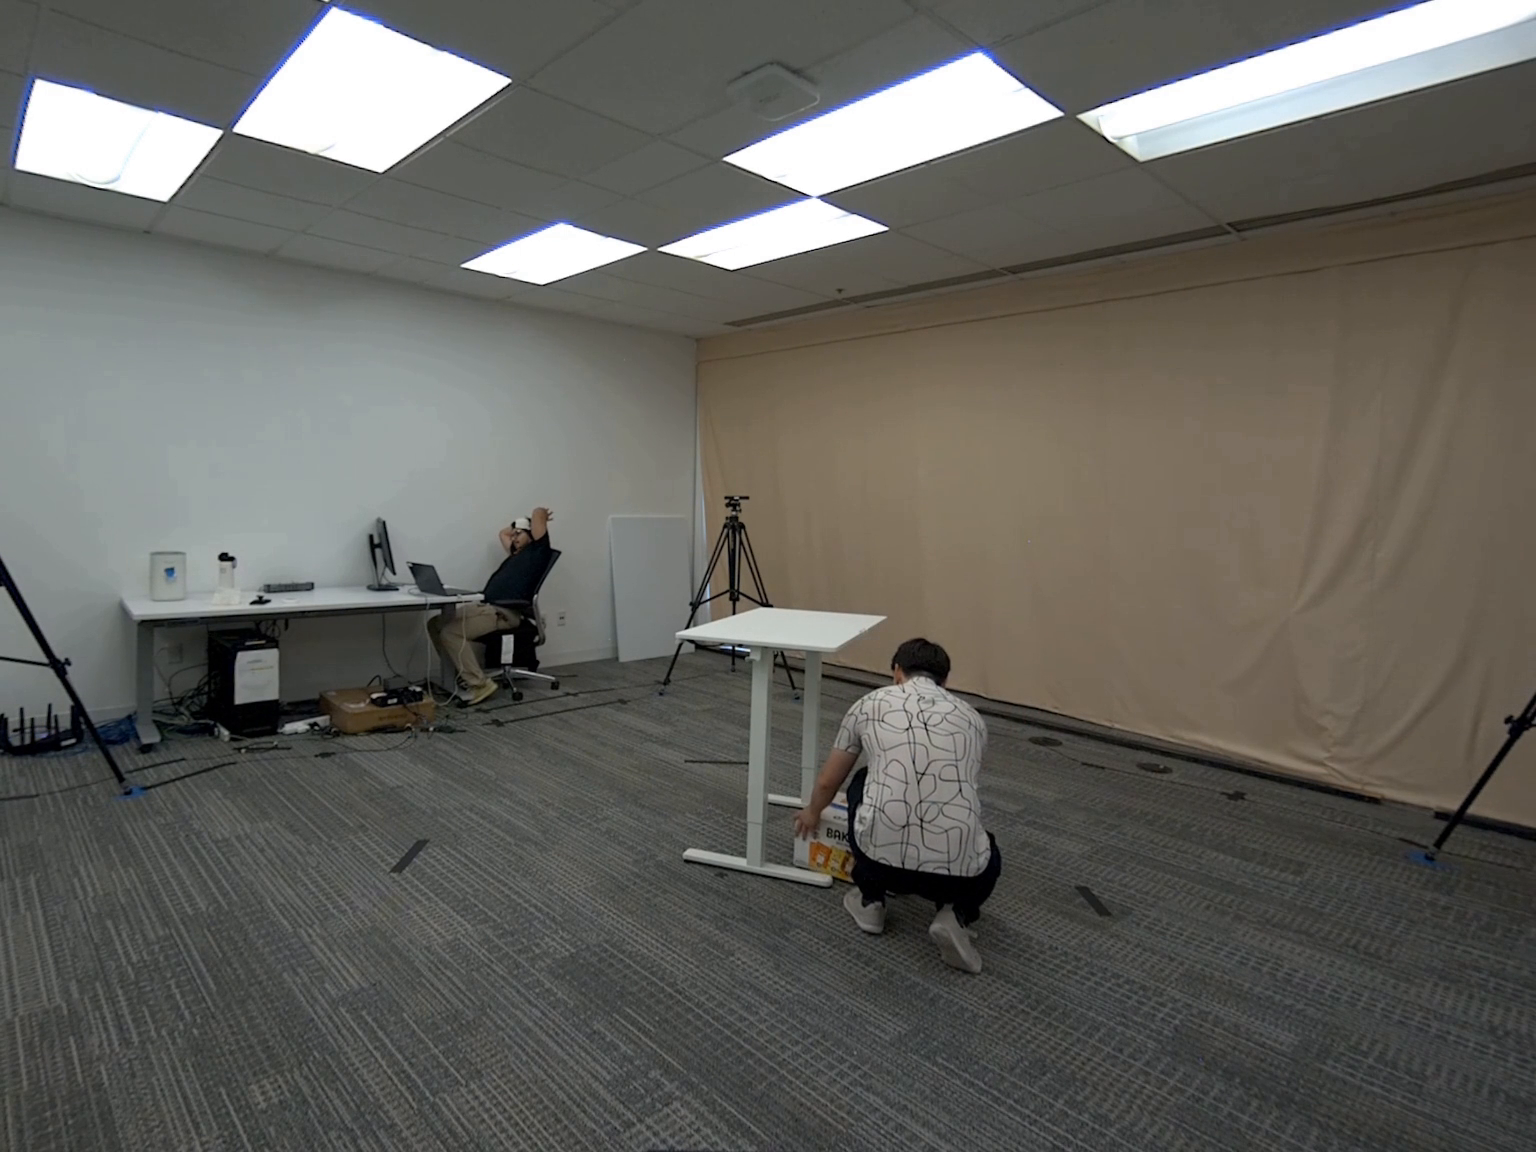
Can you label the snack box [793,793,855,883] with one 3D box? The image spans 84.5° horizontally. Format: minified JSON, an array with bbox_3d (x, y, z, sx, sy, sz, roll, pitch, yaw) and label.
[{"bbox_3d":[0.356,1.001,3.190,0.414,0.205,0.333,5,3,31],"label":"snack box"}]
